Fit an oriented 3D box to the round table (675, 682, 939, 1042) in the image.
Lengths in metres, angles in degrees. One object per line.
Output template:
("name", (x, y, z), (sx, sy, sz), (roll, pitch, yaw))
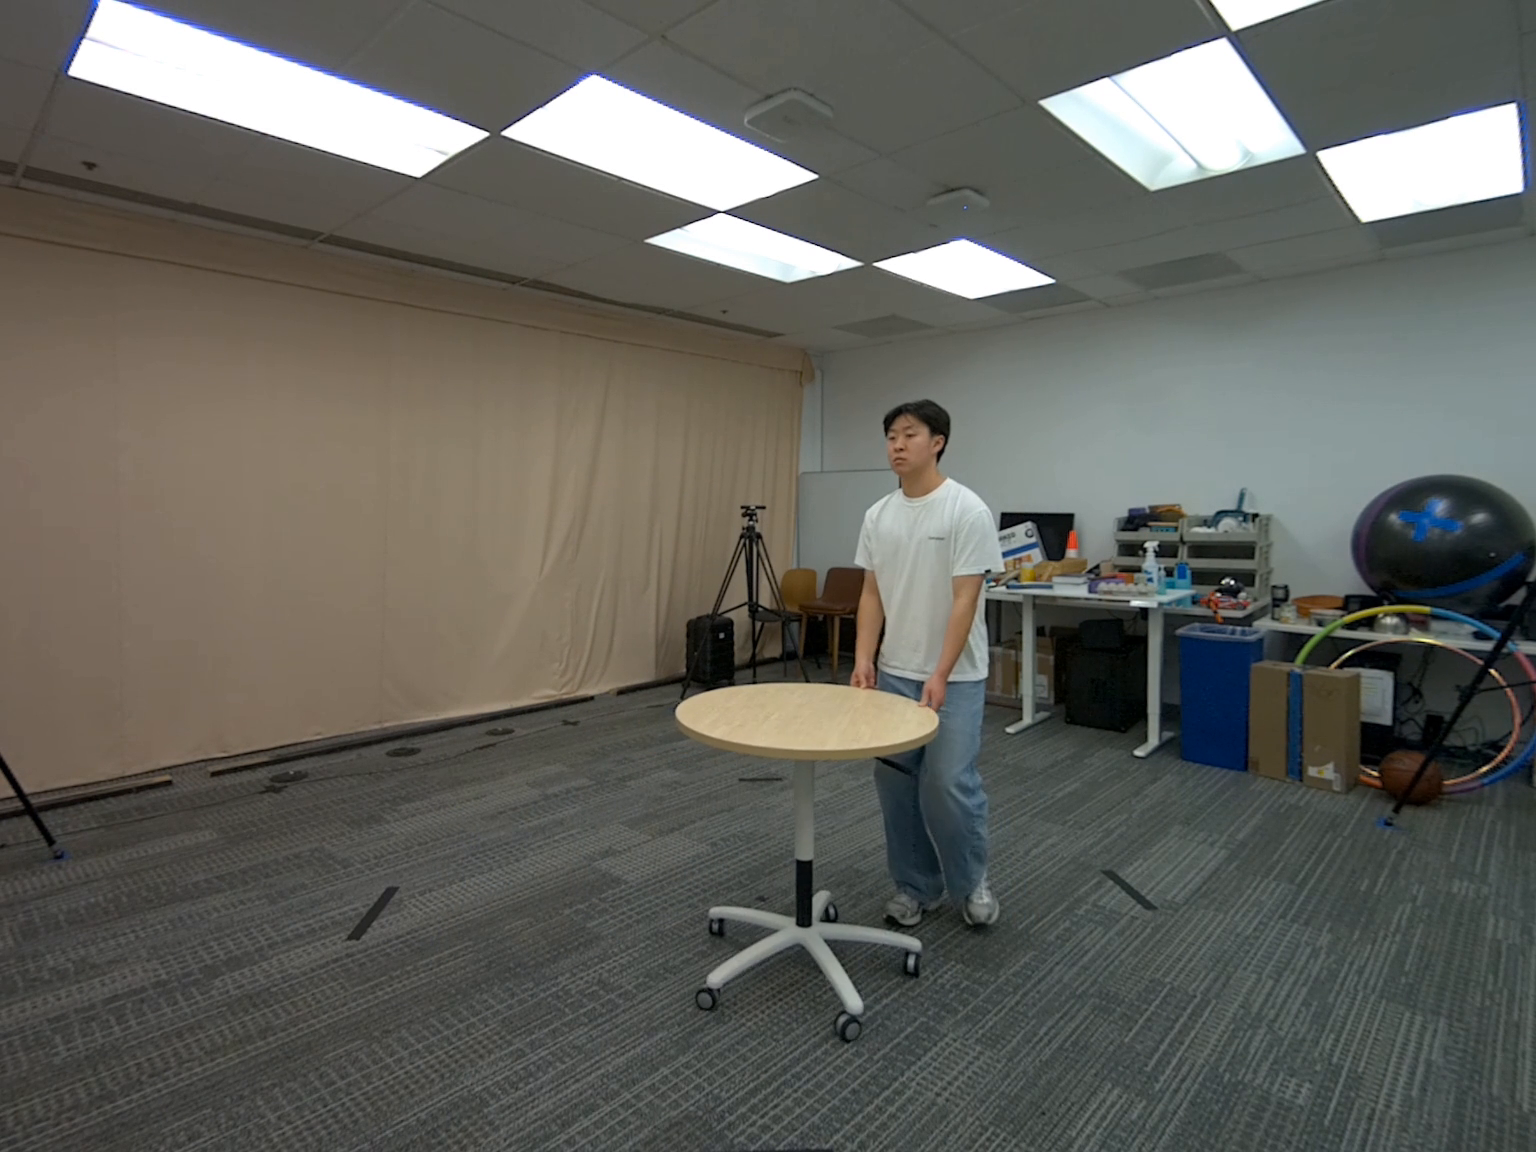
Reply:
("round table", (0.104, 0.795, 2.500), (0.763, 0.792, 0.767), (0, 4, -2))
